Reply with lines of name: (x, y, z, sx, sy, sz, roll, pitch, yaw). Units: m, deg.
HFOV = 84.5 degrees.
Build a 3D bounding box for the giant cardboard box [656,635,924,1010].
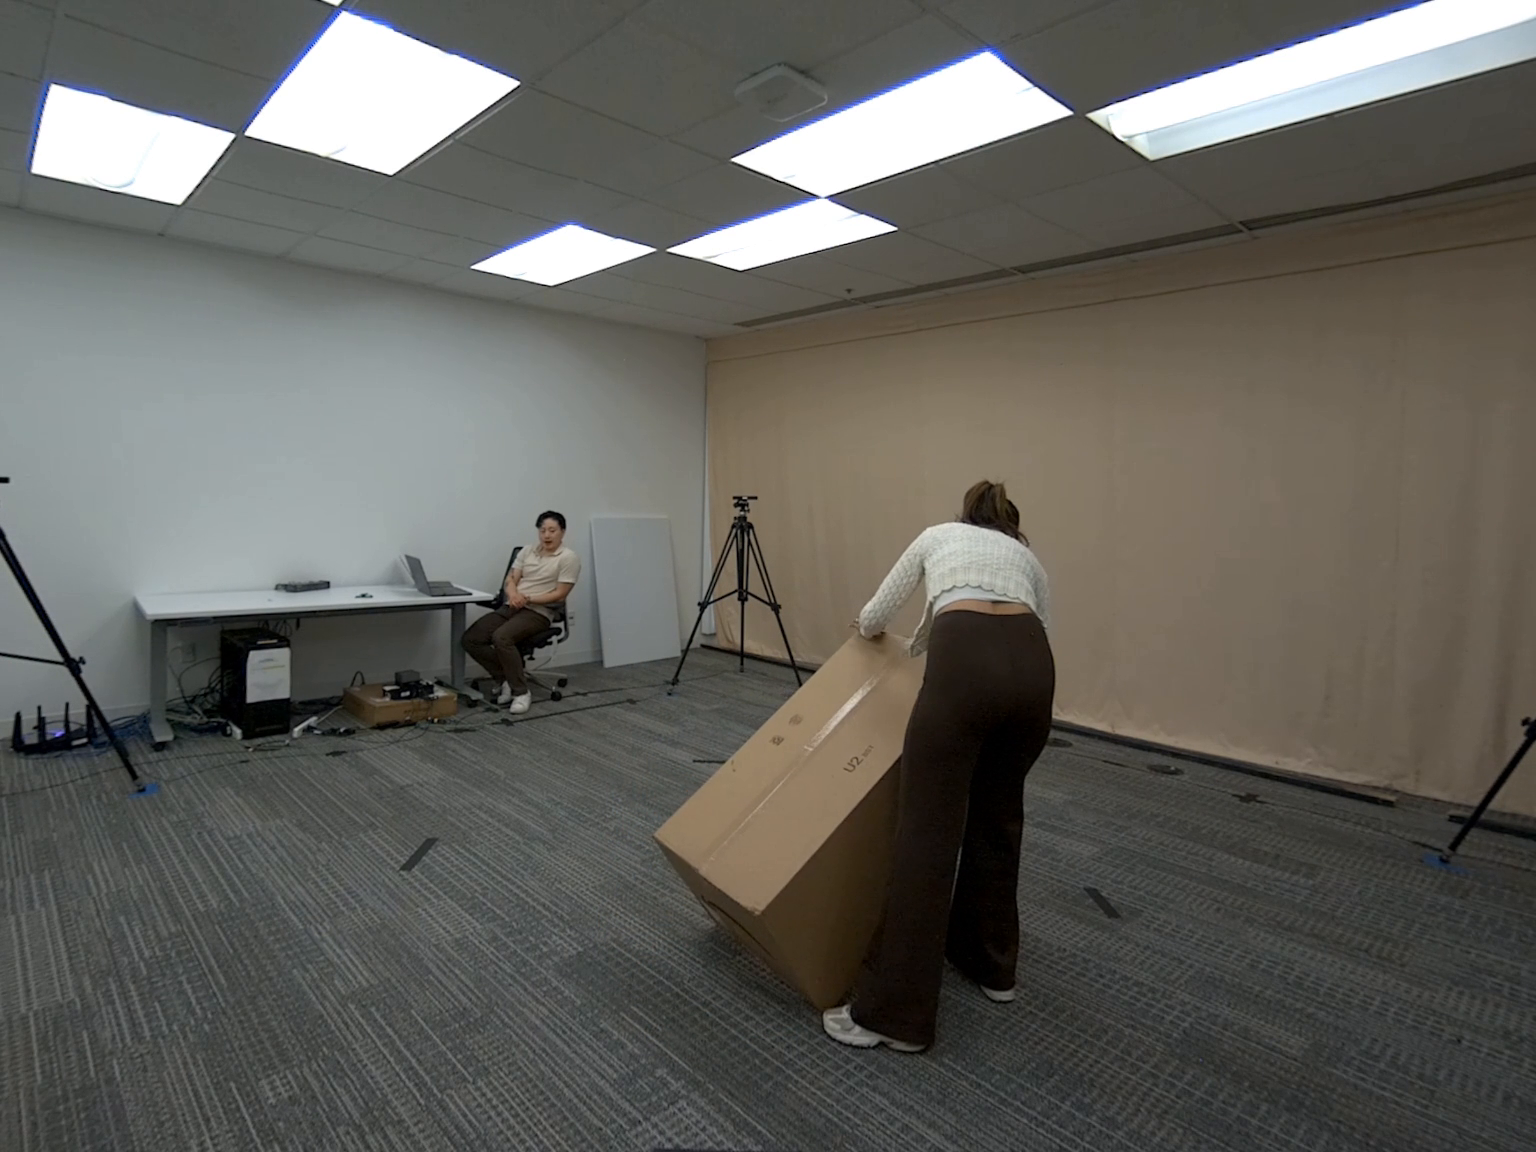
giant cardboard box: (0.239, 0.687, 2.637, 1.023, 0.417, 0.591, -41, 25, -24)
